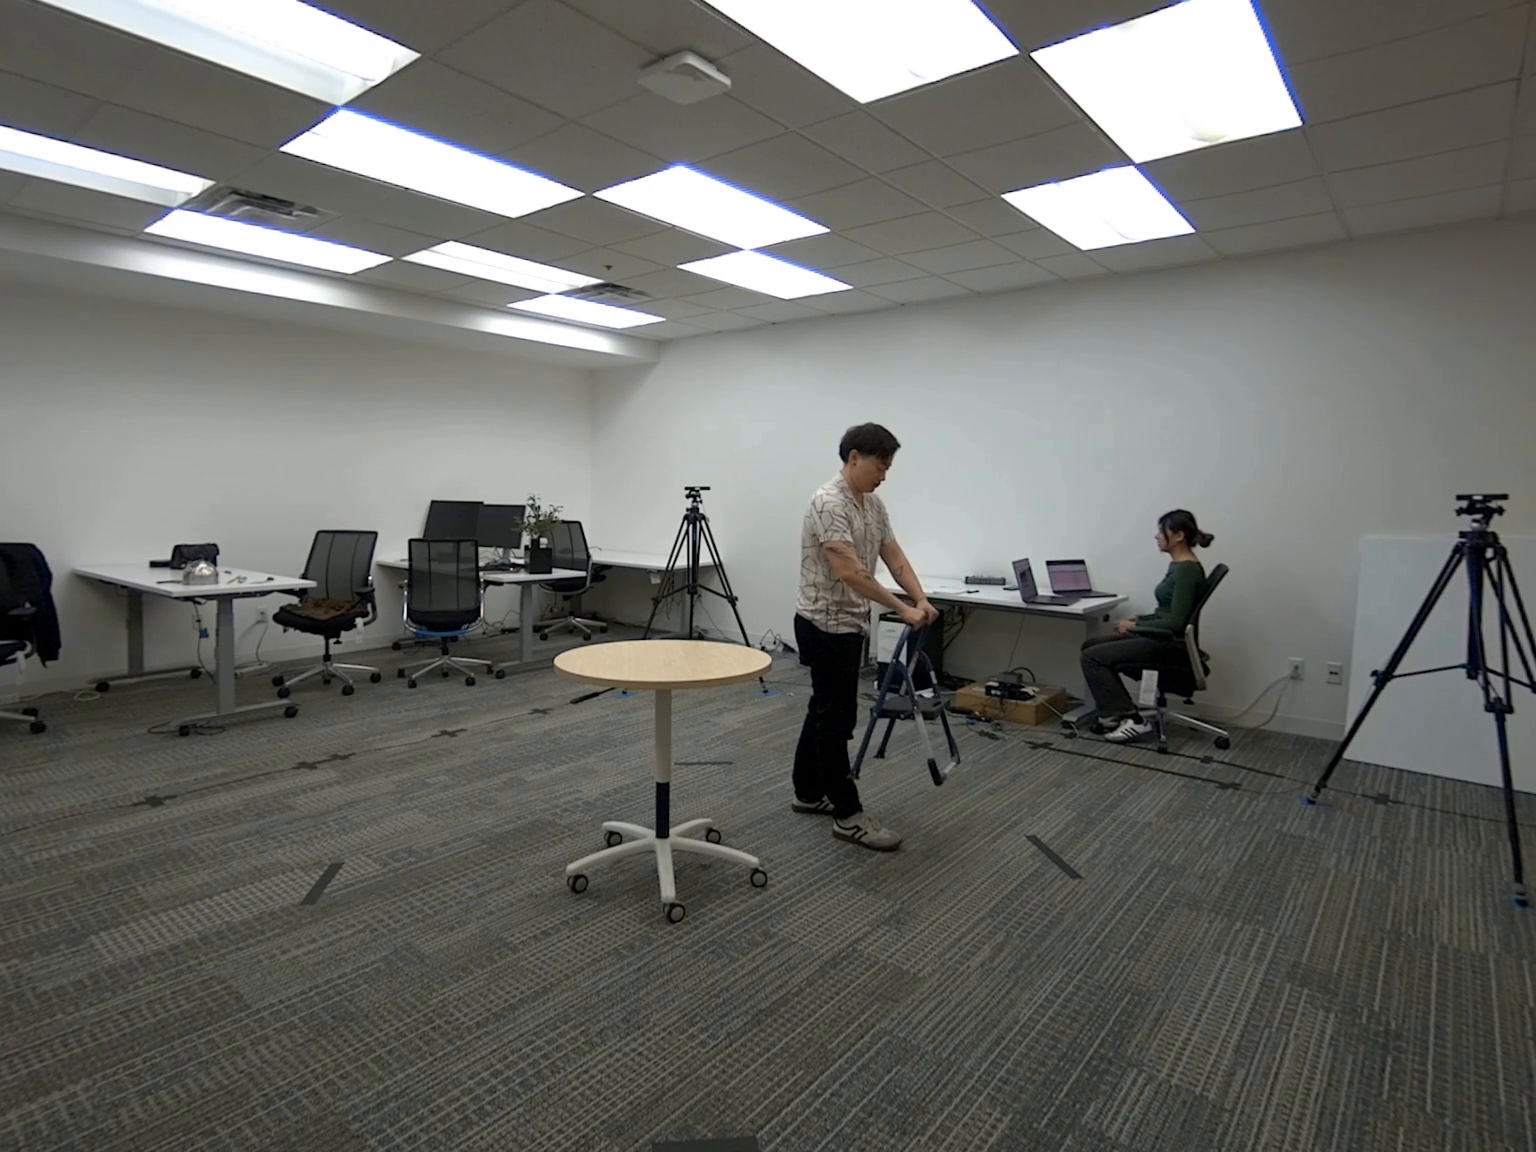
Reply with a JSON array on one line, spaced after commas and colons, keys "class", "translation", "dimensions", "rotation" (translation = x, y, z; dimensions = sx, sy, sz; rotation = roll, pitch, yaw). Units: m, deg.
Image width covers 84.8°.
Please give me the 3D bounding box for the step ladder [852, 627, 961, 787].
[{"class": "step ladder", "translation": [0.521, 0.455, 3.305], "dimensions": [0.357, 0.607, 0.420], "rotation": [-2, -2, 23]}]
